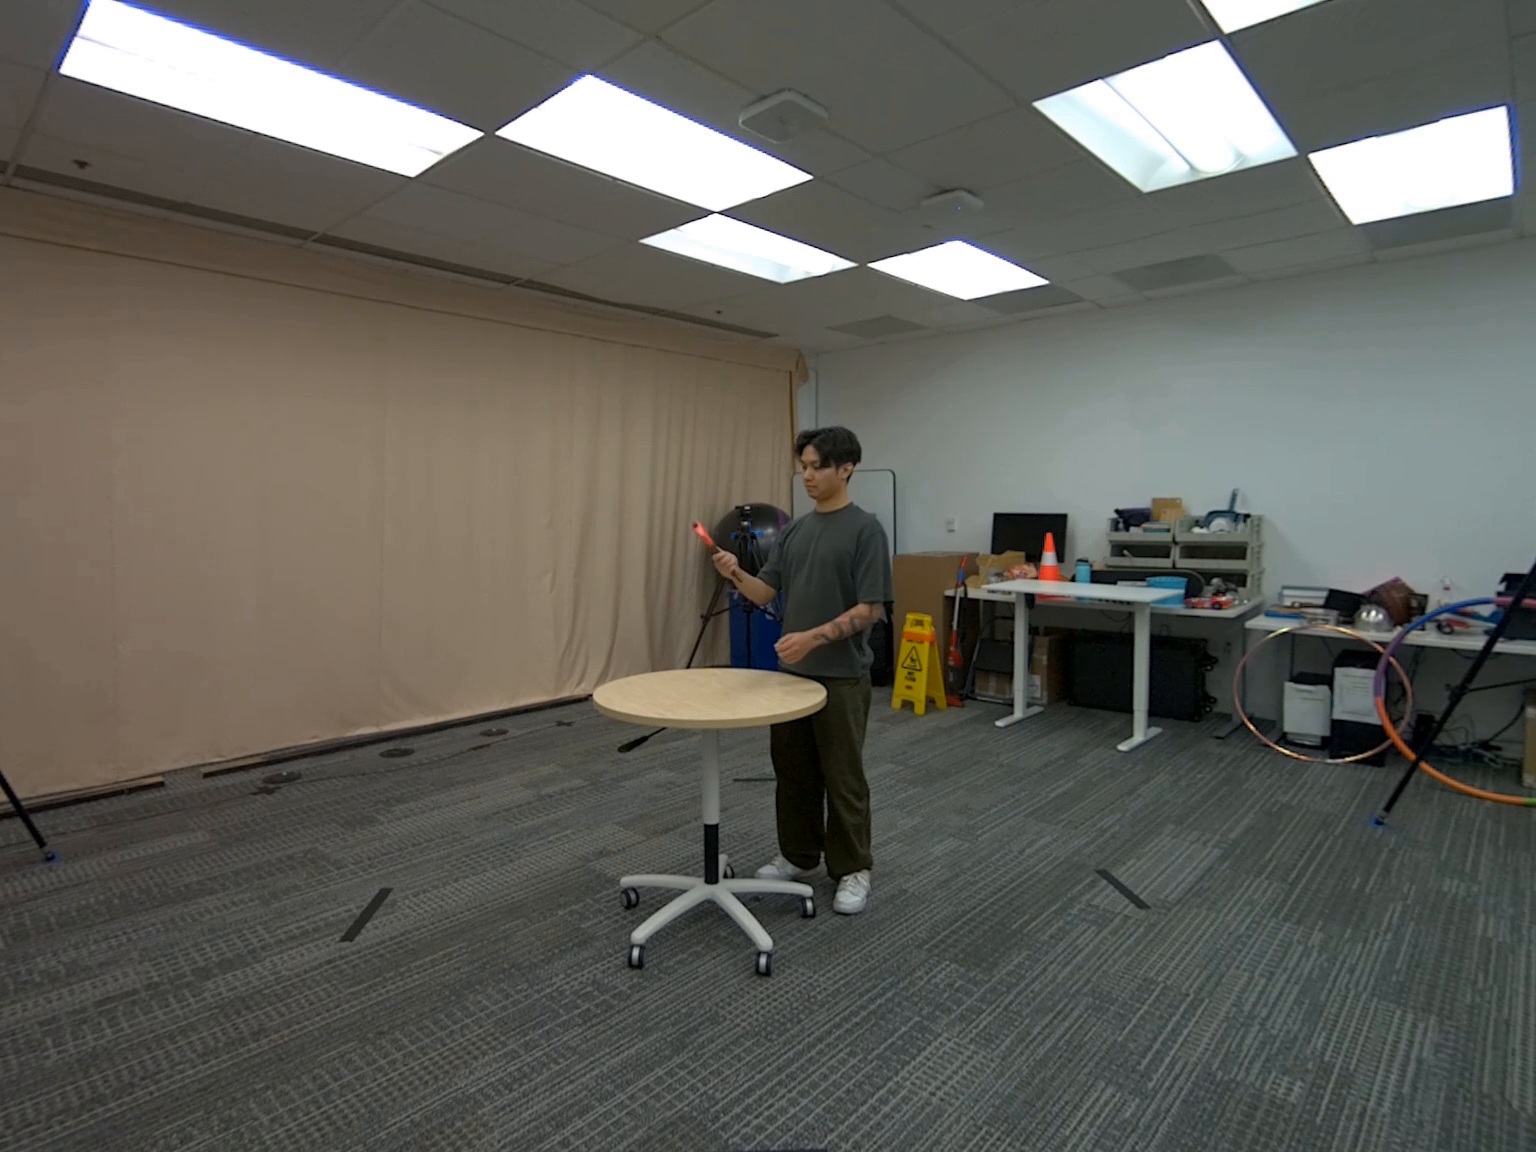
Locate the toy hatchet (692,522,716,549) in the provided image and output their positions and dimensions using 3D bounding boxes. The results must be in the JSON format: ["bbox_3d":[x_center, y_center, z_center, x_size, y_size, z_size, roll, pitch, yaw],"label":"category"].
[{"bbox_3d":[-0.157,-0.077,2.822,0.029,0.268,0.132,-41,7,-1],"label":"toy hatchet"}]
